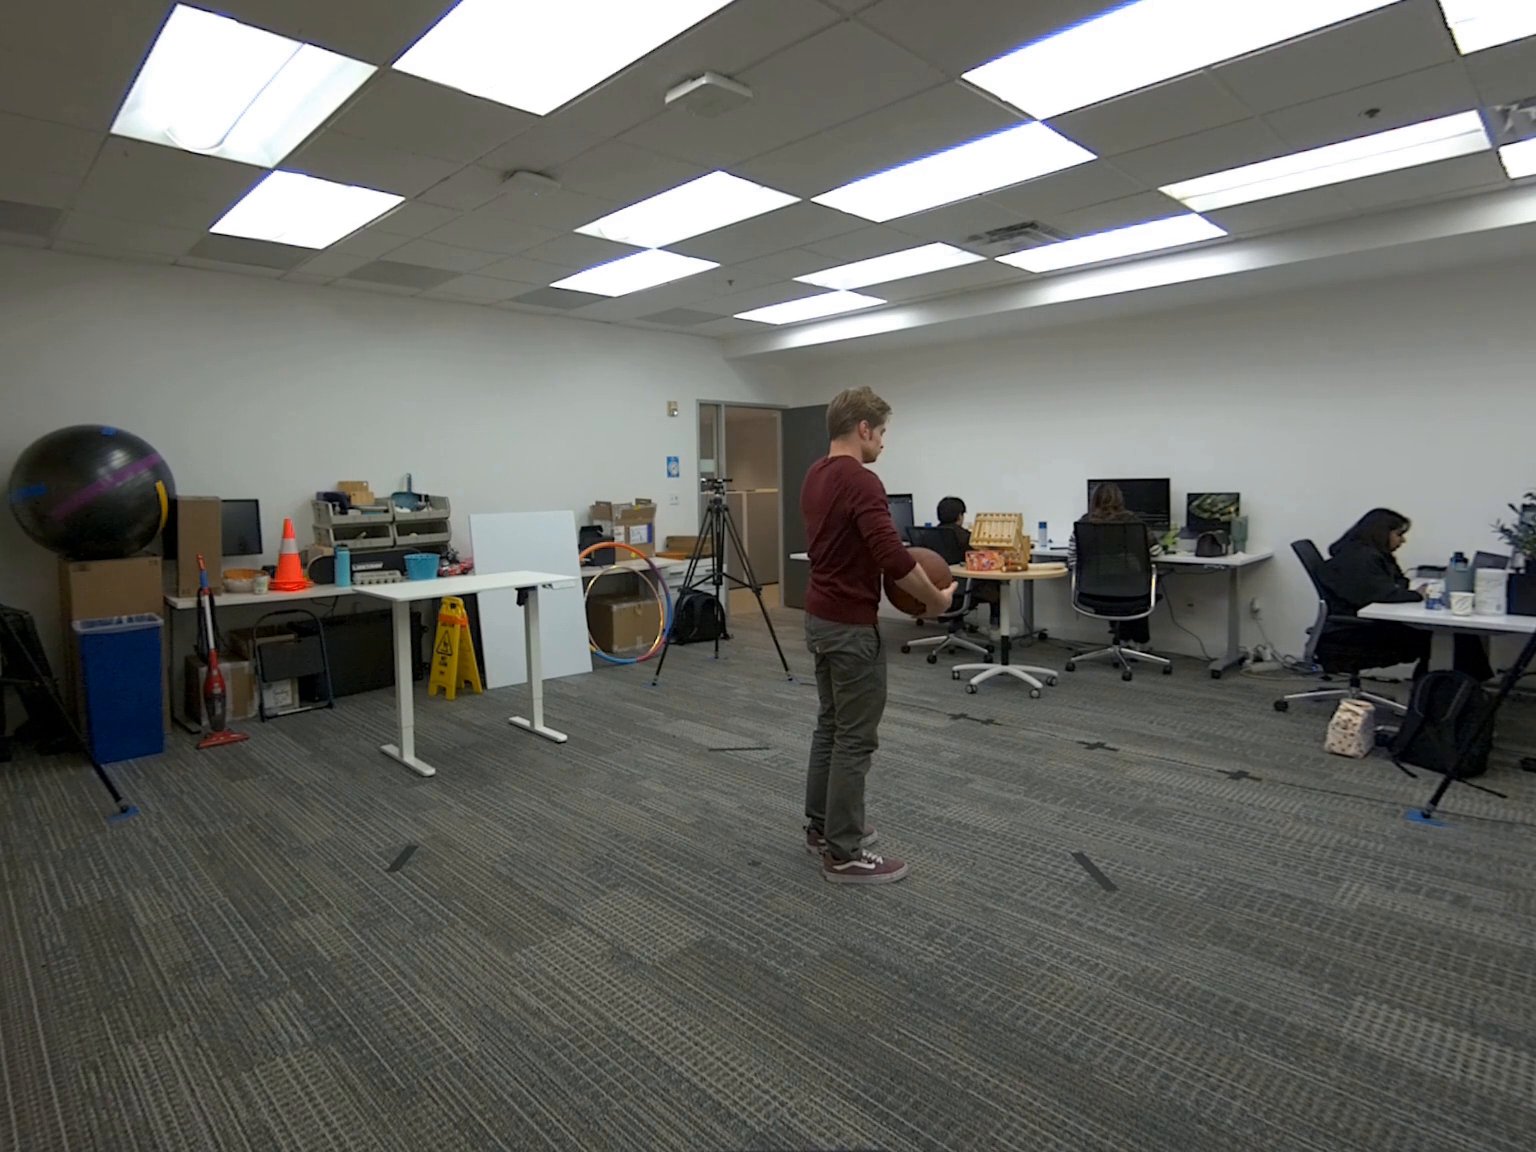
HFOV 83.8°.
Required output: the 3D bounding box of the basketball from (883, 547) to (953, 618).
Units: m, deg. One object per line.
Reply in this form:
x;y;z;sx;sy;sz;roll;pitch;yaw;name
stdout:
0.511;0.019;3.006;0.236;0.235;0.237;-1;5;-2;basketball
